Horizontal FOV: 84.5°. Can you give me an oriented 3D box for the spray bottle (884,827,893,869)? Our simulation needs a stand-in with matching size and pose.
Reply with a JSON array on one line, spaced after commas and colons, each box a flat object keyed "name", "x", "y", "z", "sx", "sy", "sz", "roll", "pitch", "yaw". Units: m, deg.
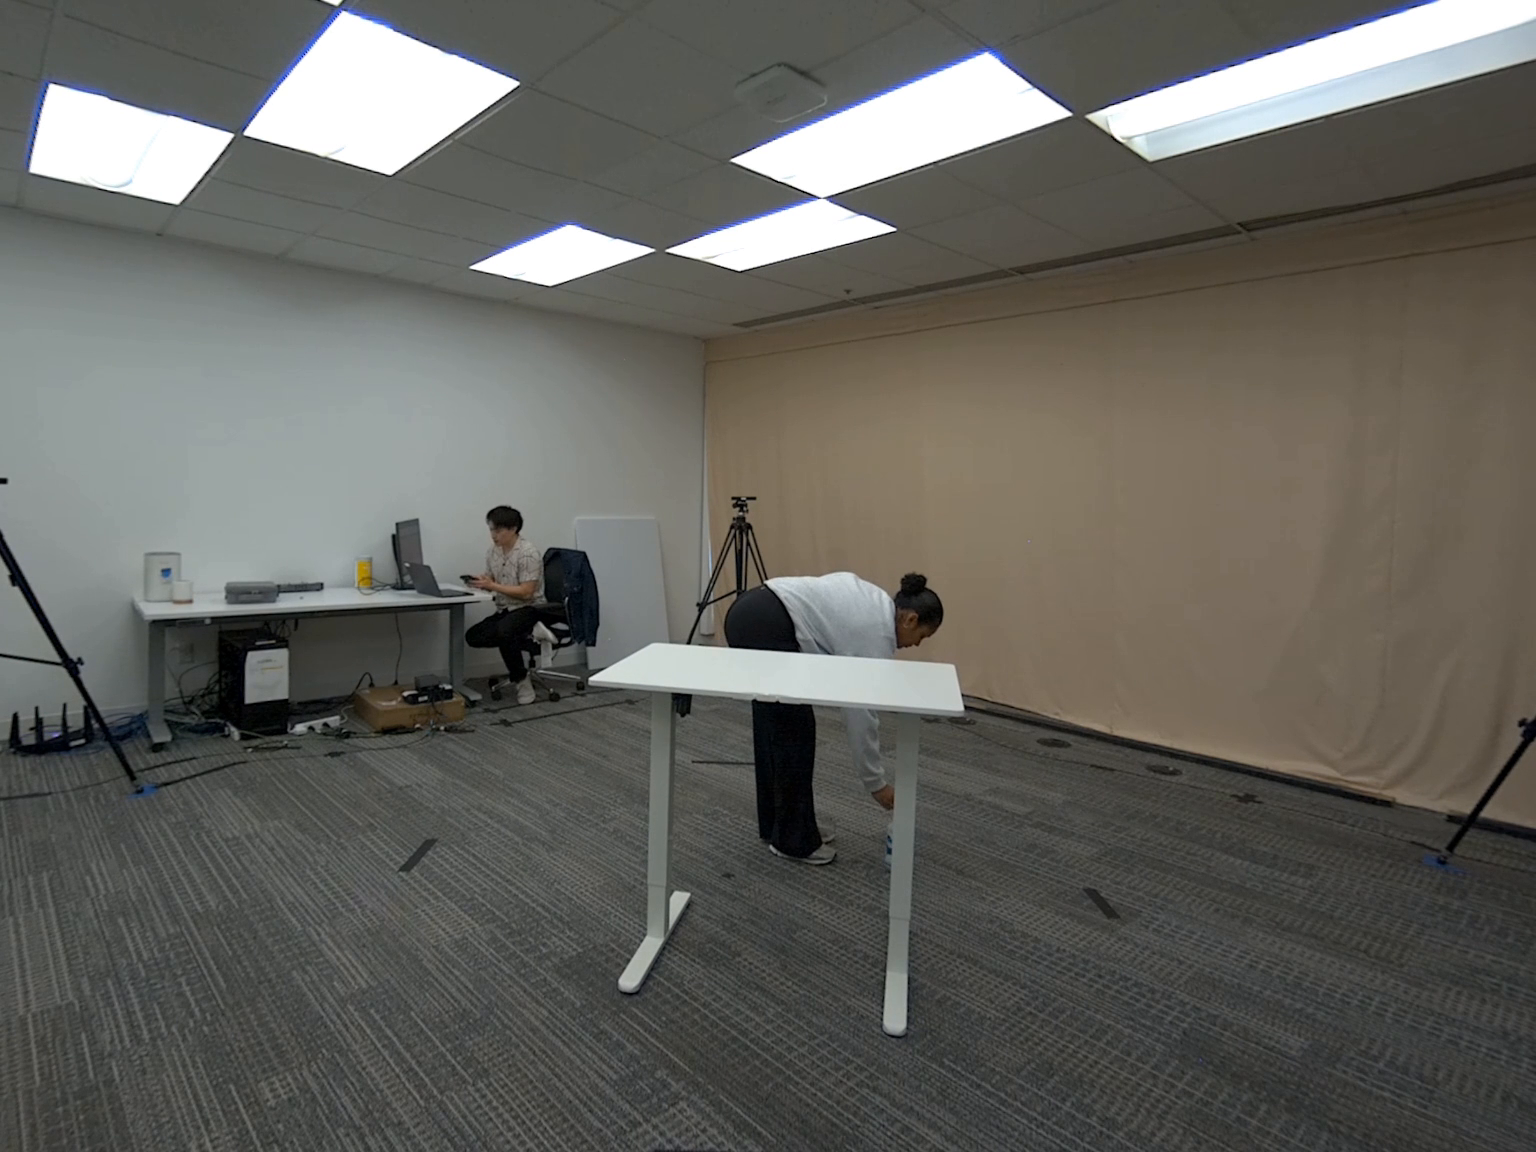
[{"name": "spray bottle", "x": 0.500, "y": 0.976, "z": 3.185, "sx": 0.092, "sy": 0.297, "sz": 0.085, "roll": 7, "pitch": -1, "yaw": 23}]
